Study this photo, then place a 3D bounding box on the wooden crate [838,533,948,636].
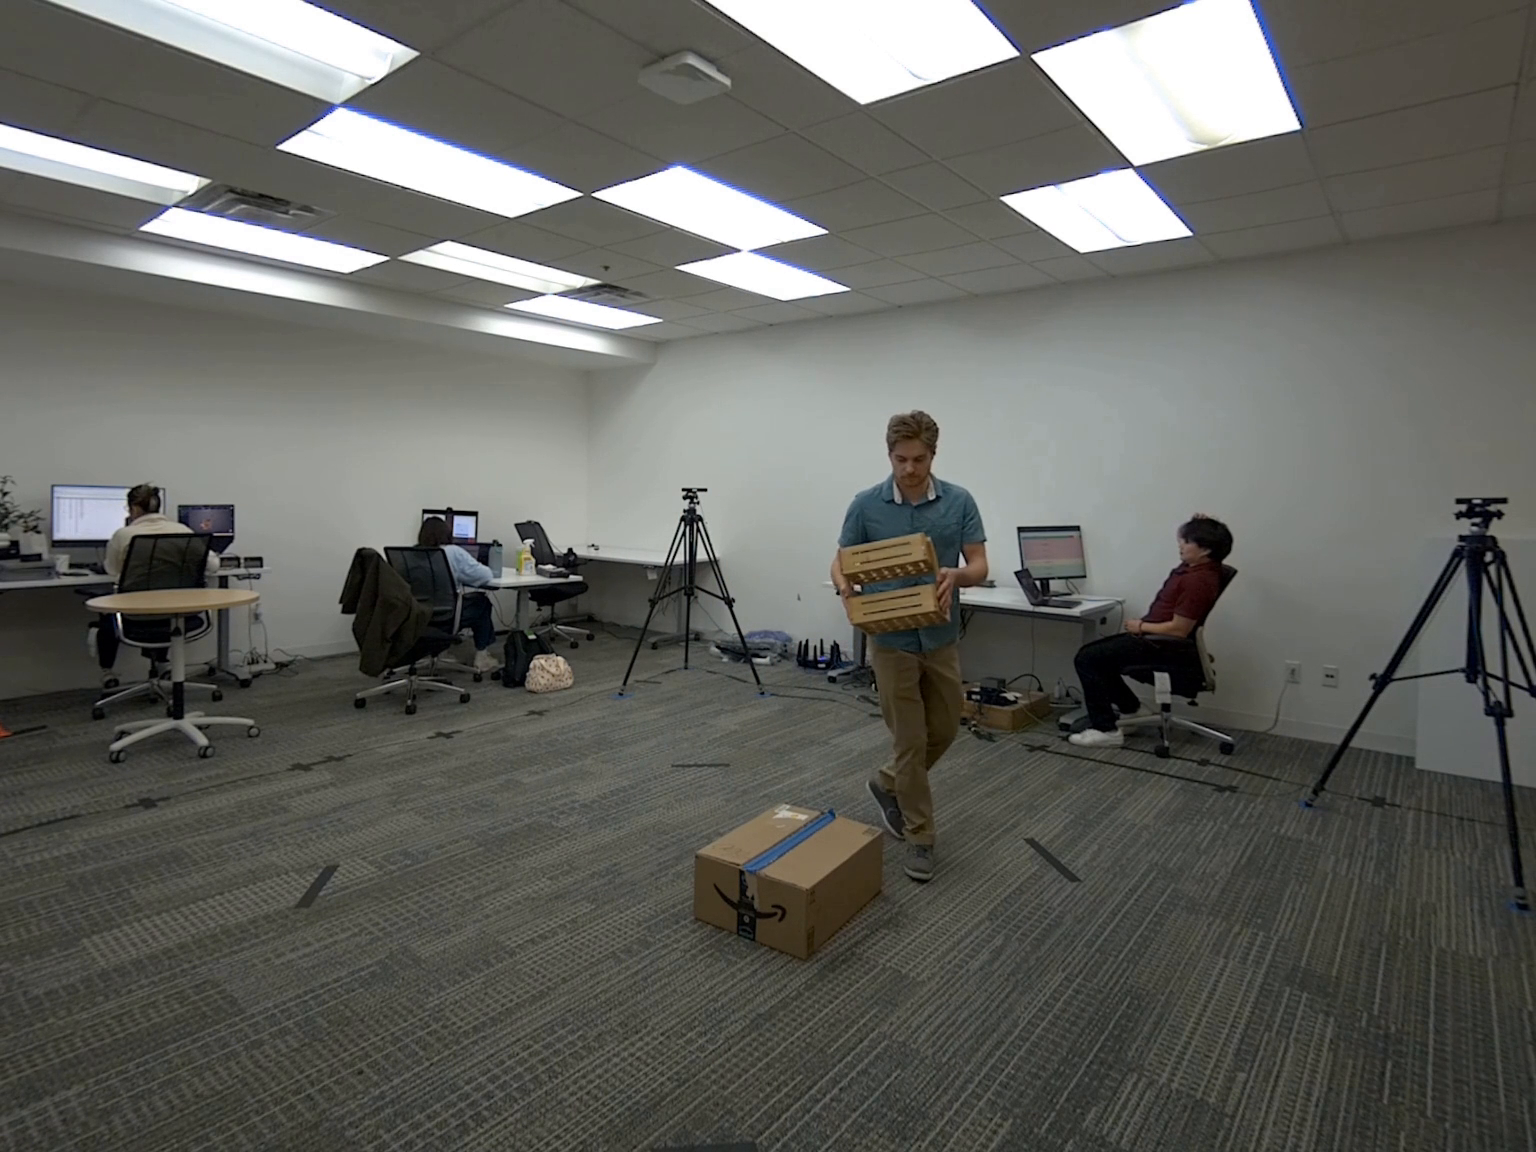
[{"bbox_3d":[0.446,0.028,3.018,0.330,0.278,0.291,-11,-18,22],"label":"wooden crate"}]
